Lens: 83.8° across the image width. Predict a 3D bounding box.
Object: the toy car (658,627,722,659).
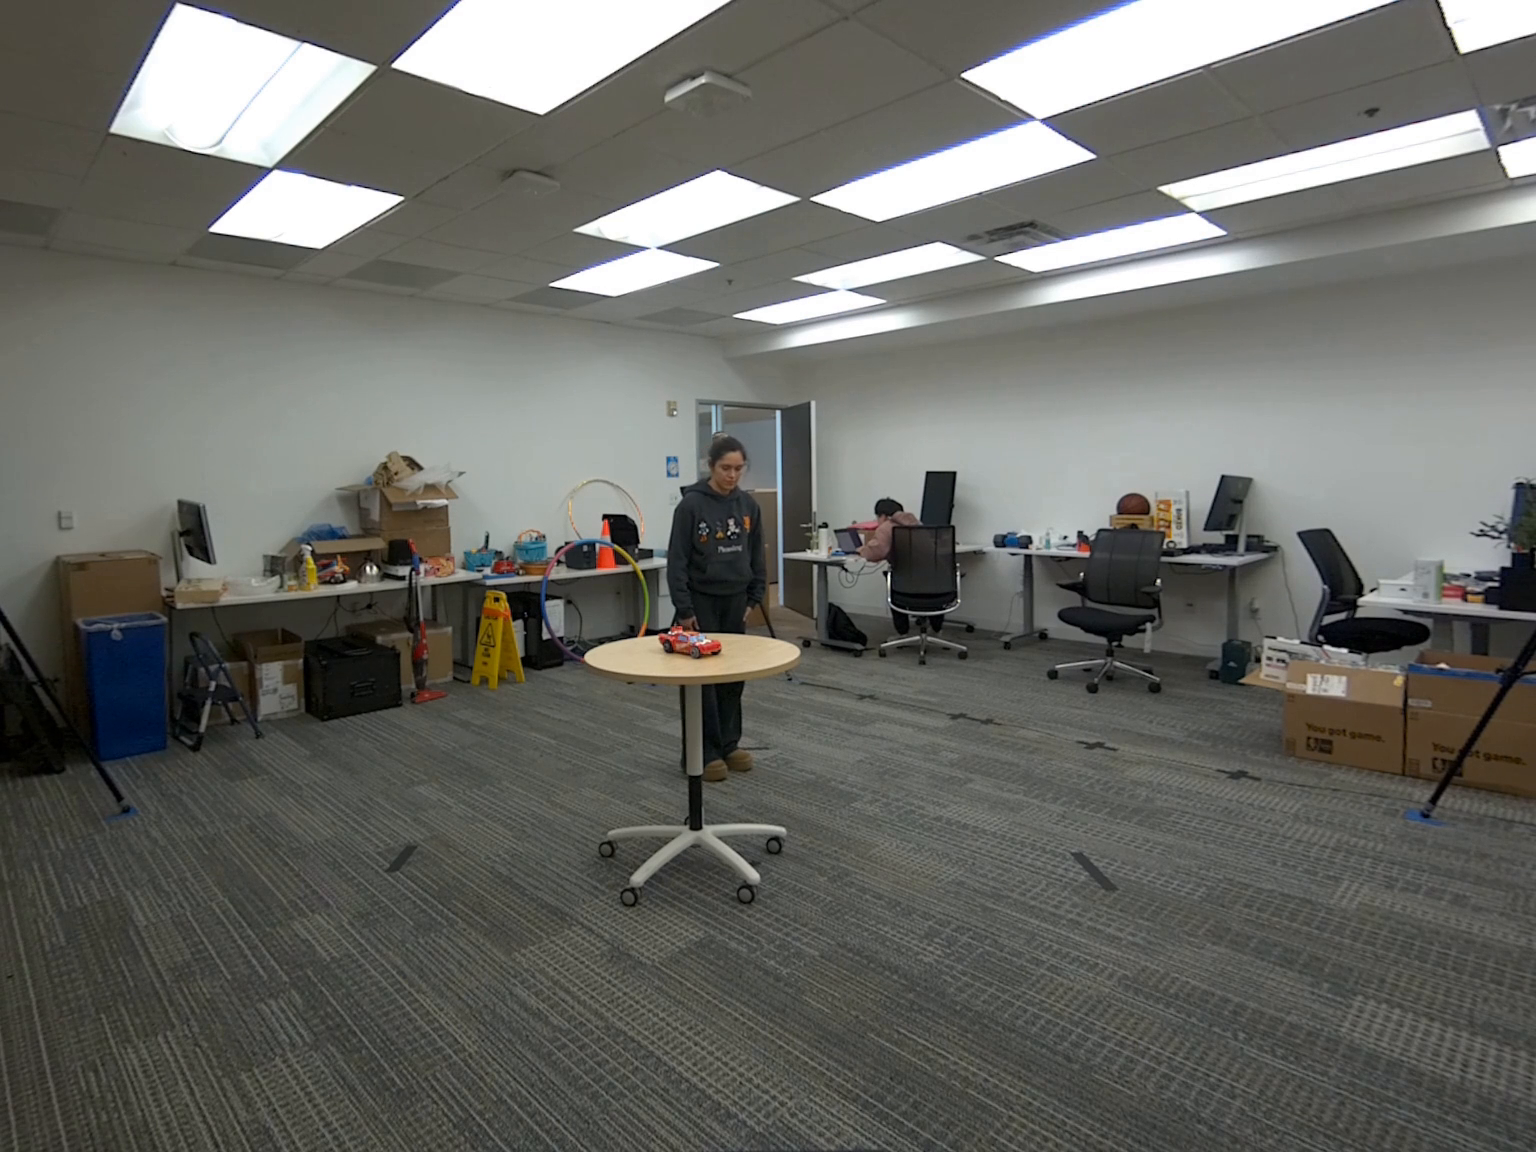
[{"bbox_3d":[-0.289,0.246,3.029,0.127,0.082,0.264,-6,18,-45],"label":"toy car"}]
